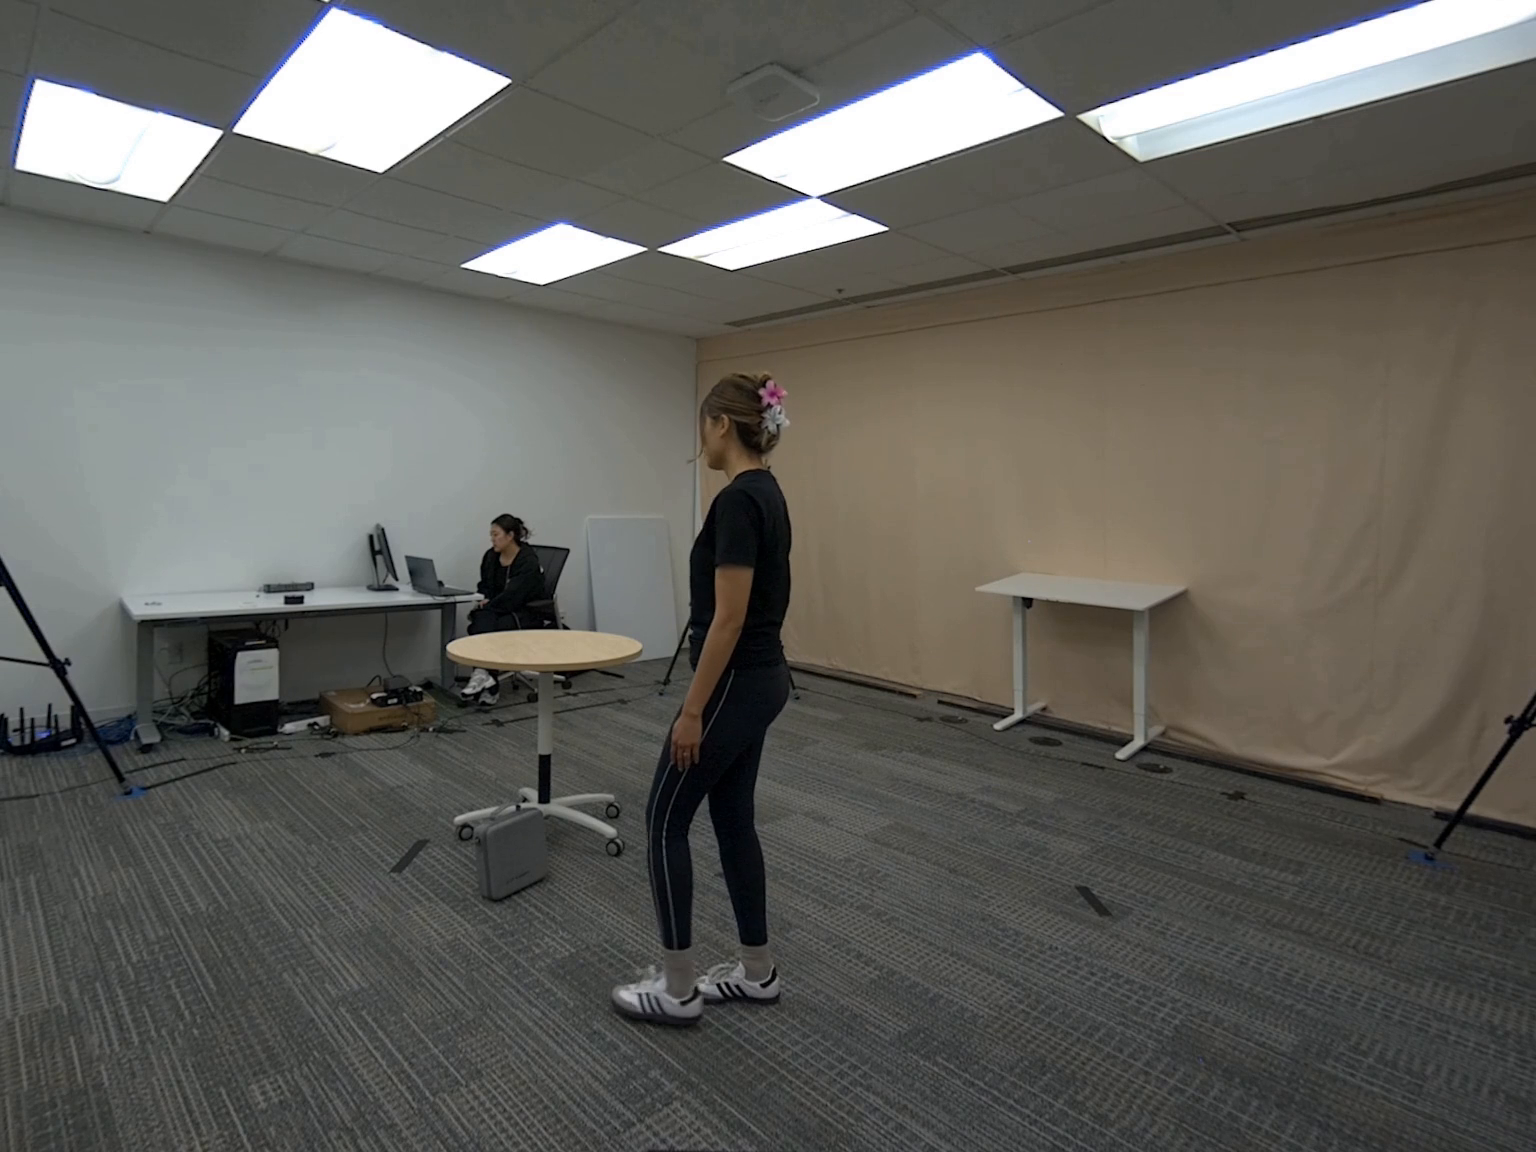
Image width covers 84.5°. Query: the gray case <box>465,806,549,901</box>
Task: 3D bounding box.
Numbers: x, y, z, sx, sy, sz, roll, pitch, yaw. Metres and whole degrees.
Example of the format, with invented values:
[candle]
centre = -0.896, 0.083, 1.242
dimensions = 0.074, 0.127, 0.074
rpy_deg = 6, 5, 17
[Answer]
[gray case]
centre = -0.911, 0.967, 2.960
dimensions = 0.106, 0.261, 0.251
rpy_deg = -4, 0, 35
